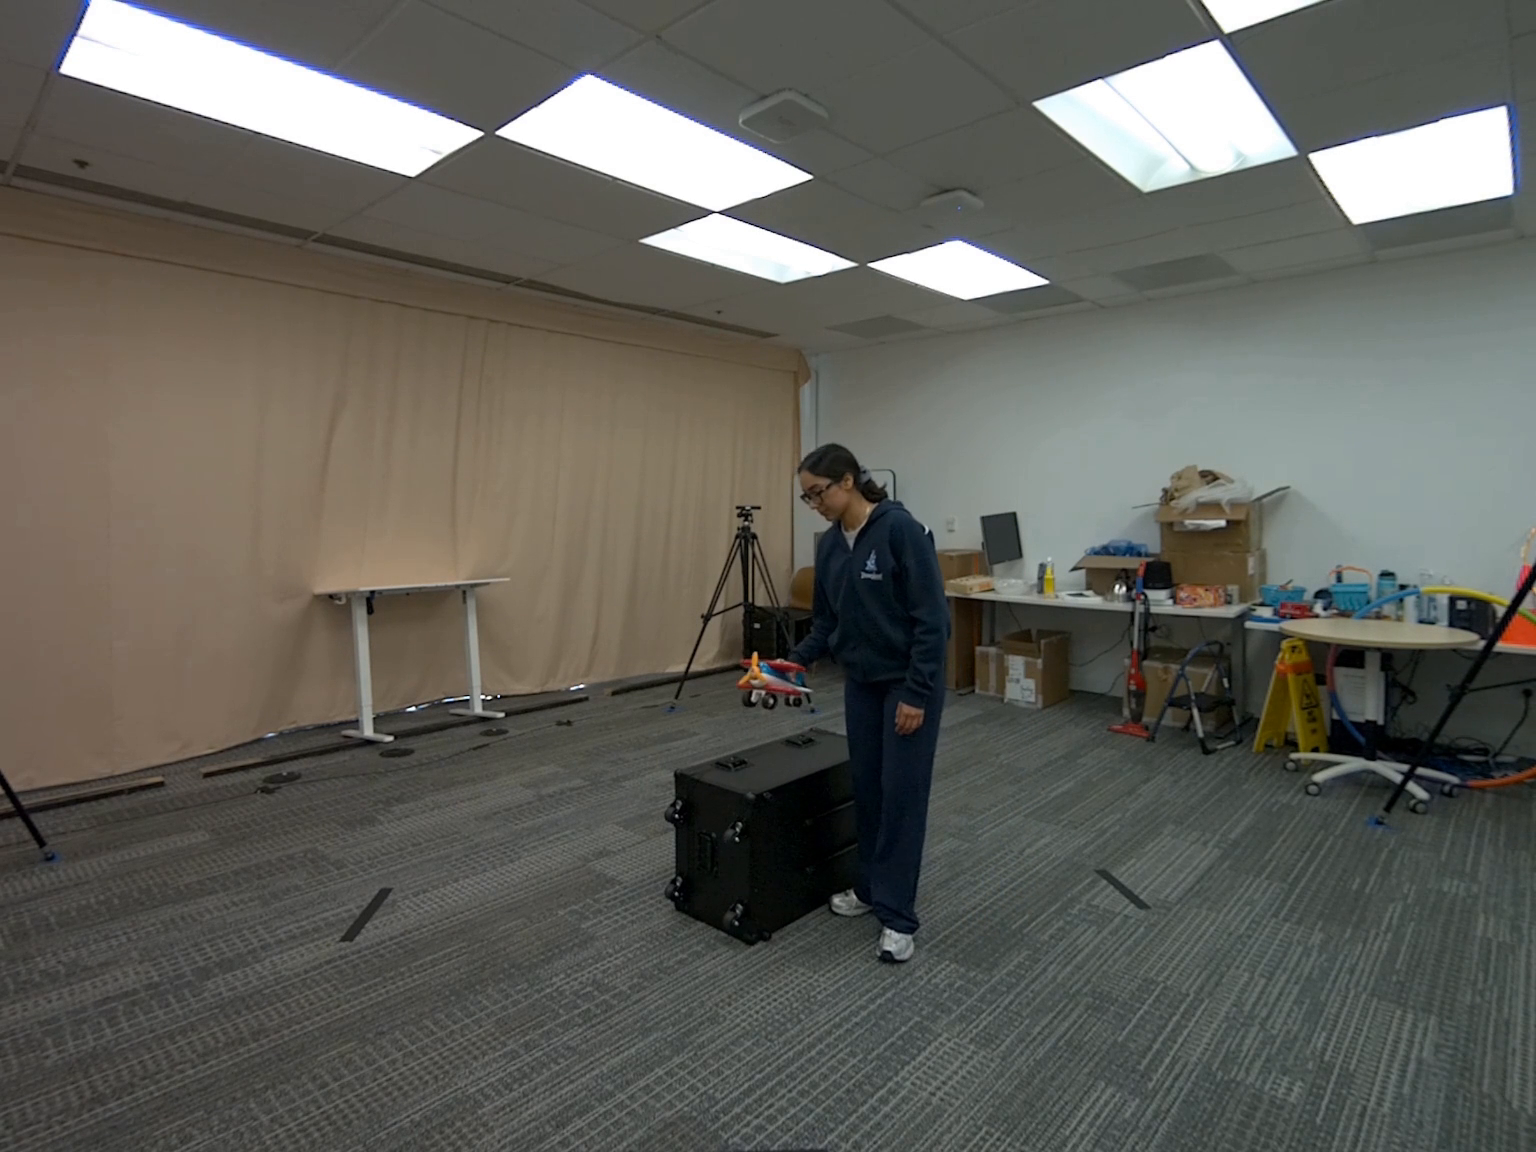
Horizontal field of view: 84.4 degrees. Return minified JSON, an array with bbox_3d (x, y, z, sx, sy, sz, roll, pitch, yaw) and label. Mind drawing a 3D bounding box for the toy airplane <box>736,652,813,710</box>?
[{"bbox_3d":[0.030,0.361,2.806,0.255,0.157,0.254,1,-2,15],"label":"toy airplane"}]
